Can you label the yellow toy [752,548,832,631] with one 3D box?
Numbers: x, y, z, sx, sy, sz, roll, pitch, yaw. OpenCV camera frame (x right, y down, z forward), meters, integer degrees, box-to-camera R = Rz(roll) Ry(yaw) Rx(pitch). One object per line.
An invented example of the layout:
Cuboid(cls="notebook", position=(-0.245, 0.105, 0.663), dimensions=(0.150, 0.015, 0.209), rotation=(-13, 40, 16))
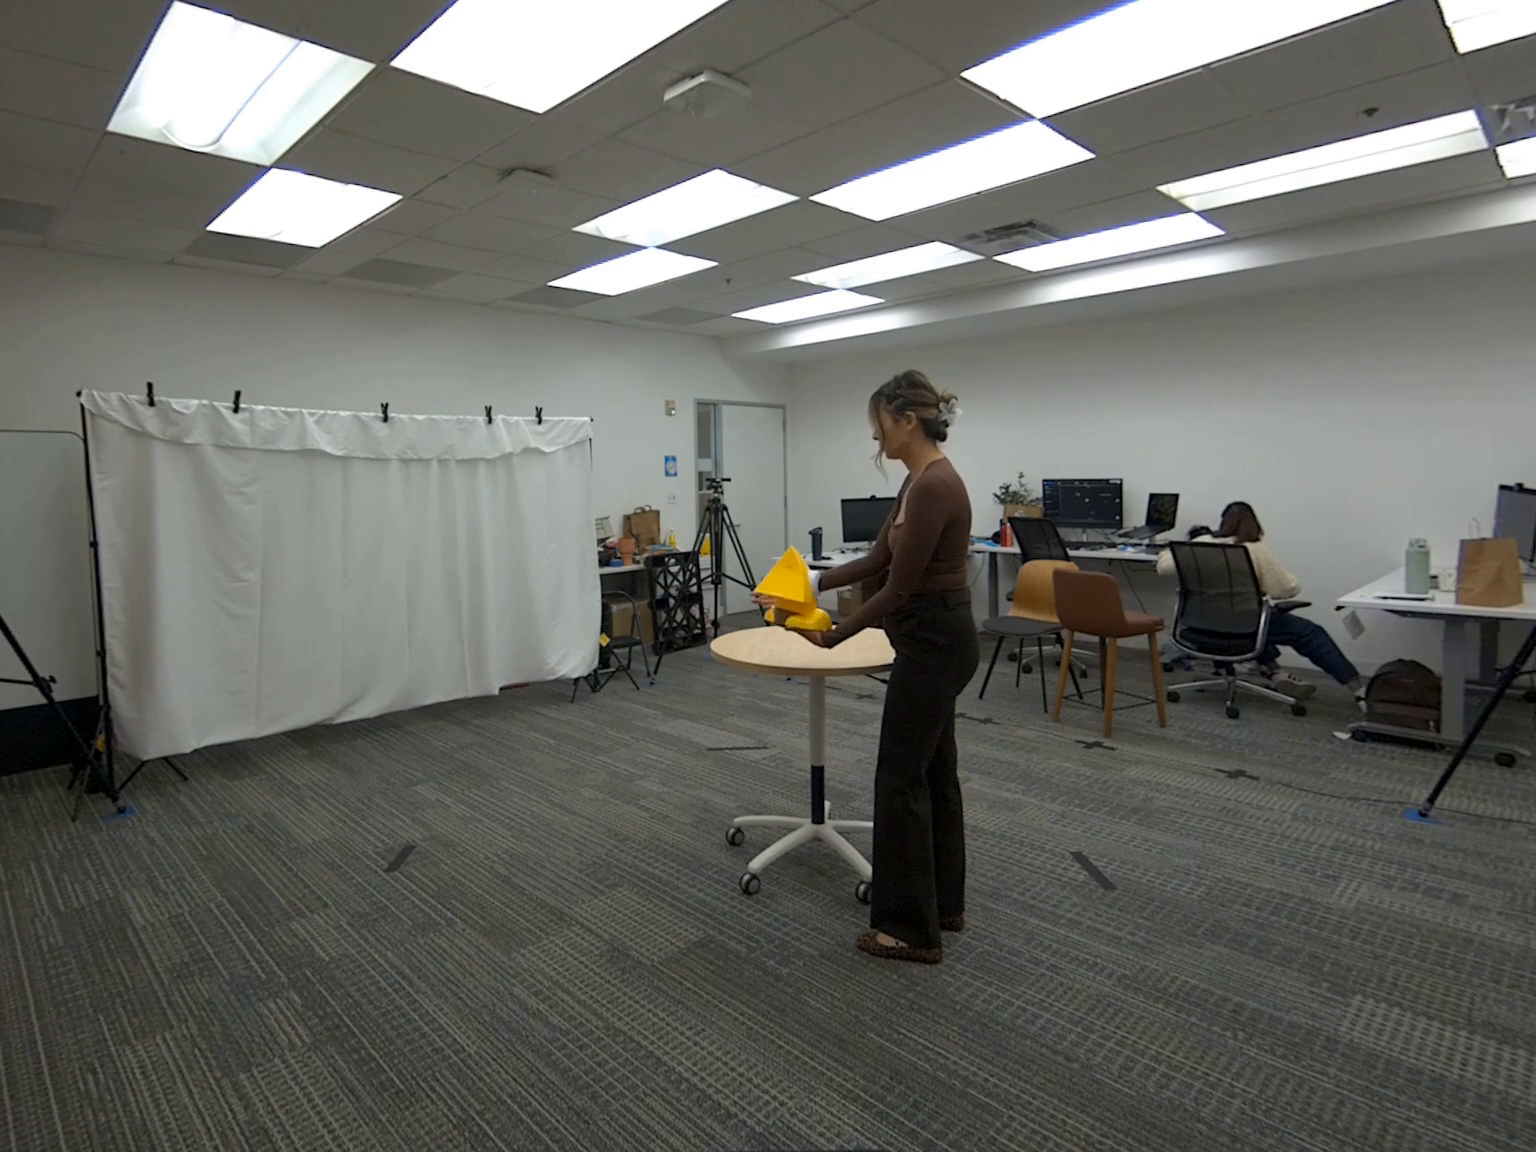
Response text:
Cuboid(cls="yellow toy", position=(0.104, 0.027, 2.549), dimensions=(0.187, 0.230, 0.211), rotation=(6, 2, -43))
